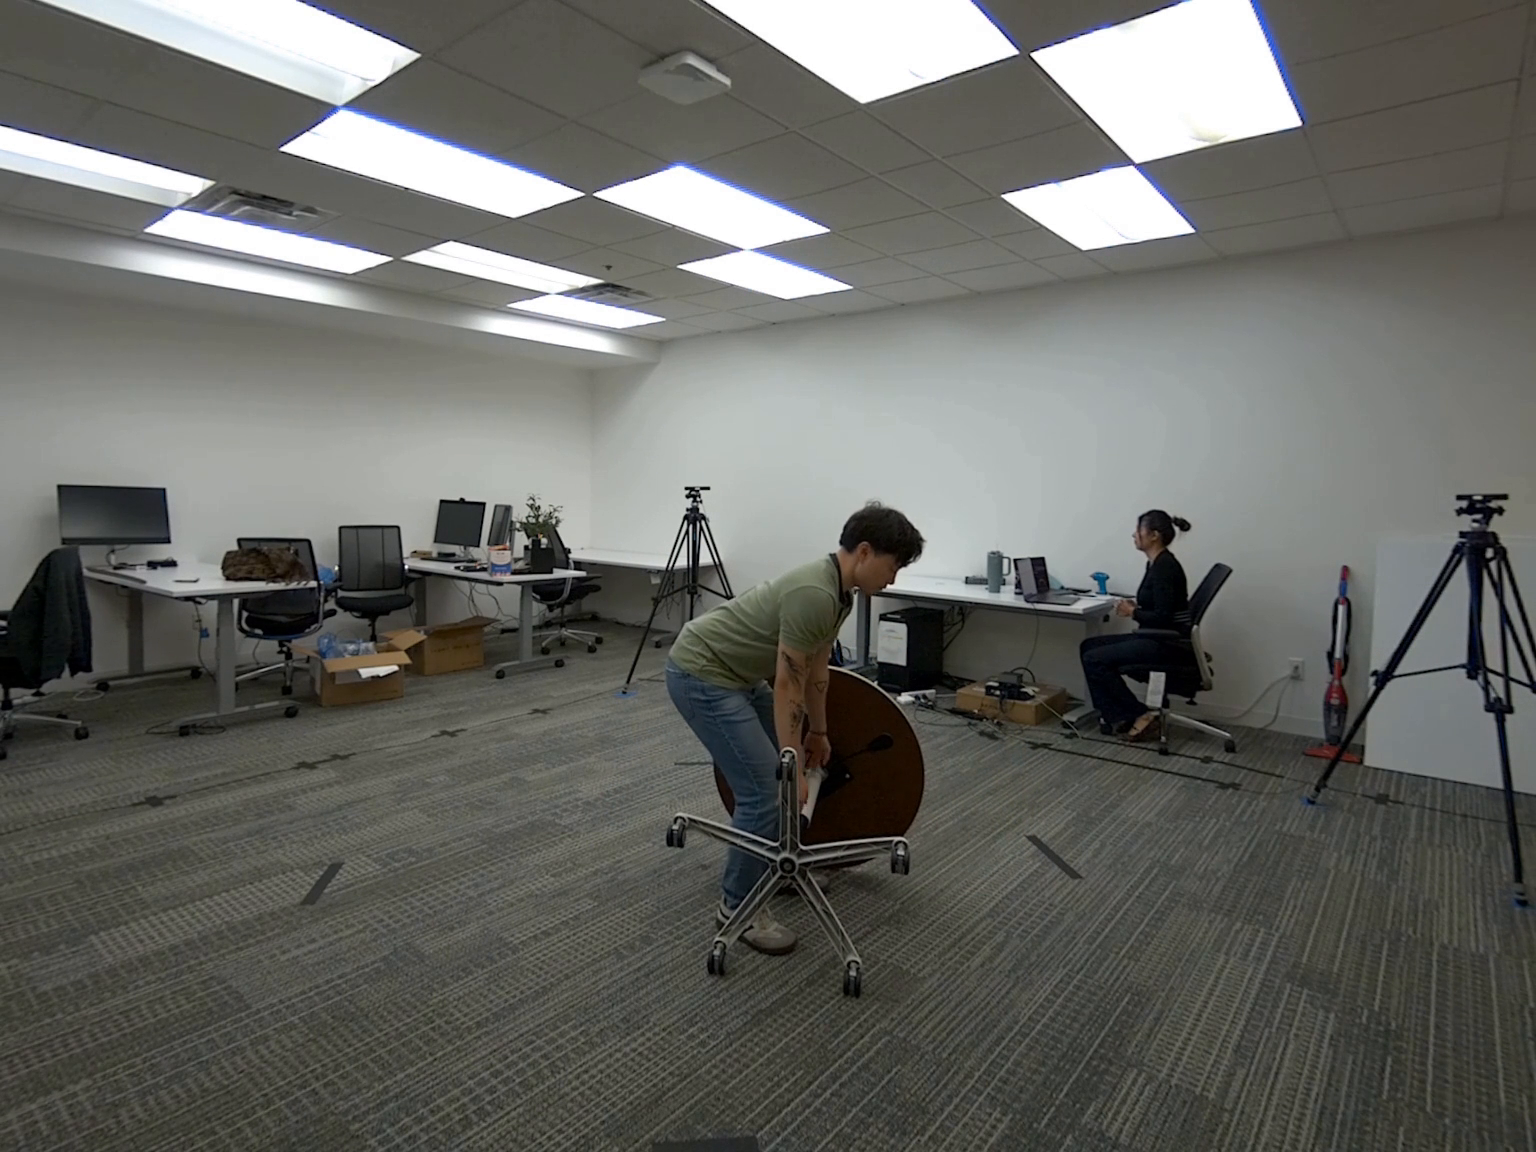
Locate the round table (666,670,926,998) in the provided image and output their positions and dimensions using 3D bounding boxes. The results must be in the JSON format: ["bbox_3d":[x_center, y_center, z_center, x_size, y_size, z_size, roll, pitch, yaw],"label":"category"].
[{"bbox_3d":[0.113,0.764,2.704,0.774,0.757,0.791,1,11,11],"label":"round table"}]
